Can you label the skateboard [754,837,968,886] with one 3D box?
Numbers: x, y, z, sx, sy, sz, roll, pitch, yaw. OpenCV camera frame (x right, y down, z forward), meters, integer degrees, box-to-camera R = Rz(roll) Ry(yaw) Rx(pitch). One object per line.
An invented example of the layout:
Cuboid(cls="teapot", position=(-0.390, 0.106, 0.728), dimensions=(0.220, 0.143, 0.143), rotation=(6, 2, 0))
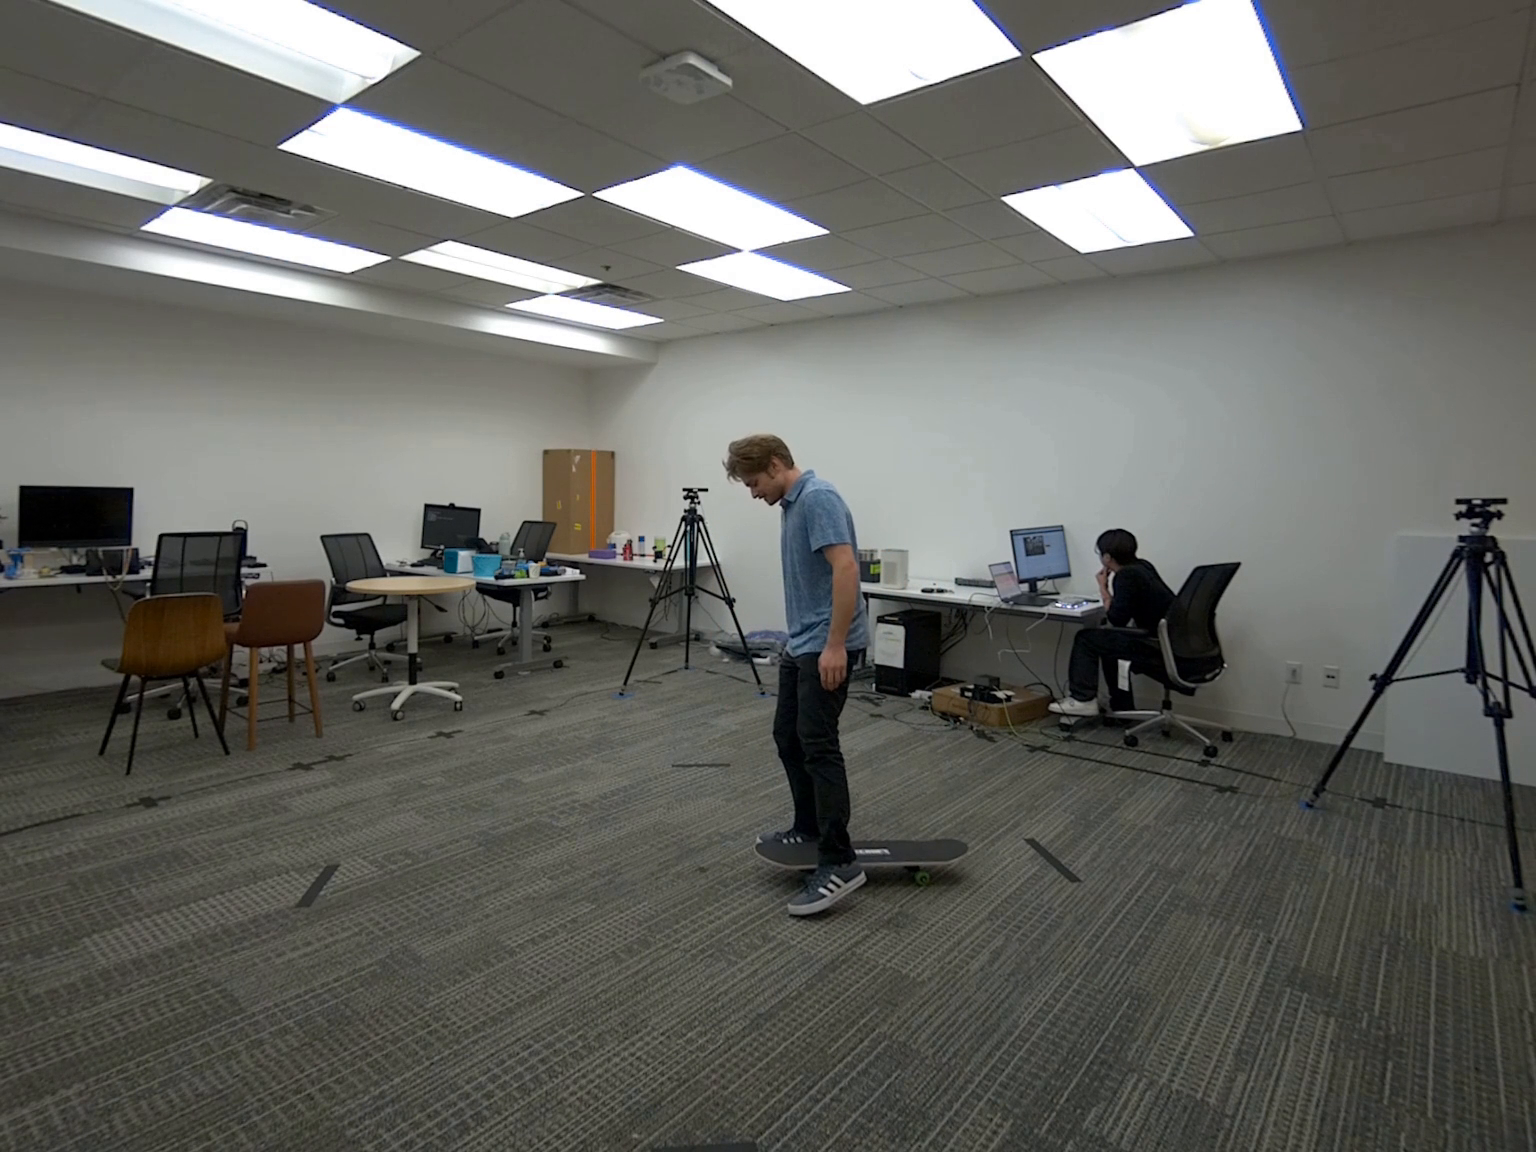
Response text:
Cuboid(cls="skateboard", position=(0.337, 1.027, 3.078), dimensions=(0.780, 0.110, 0.195), rotation=(1, 5, -6))
